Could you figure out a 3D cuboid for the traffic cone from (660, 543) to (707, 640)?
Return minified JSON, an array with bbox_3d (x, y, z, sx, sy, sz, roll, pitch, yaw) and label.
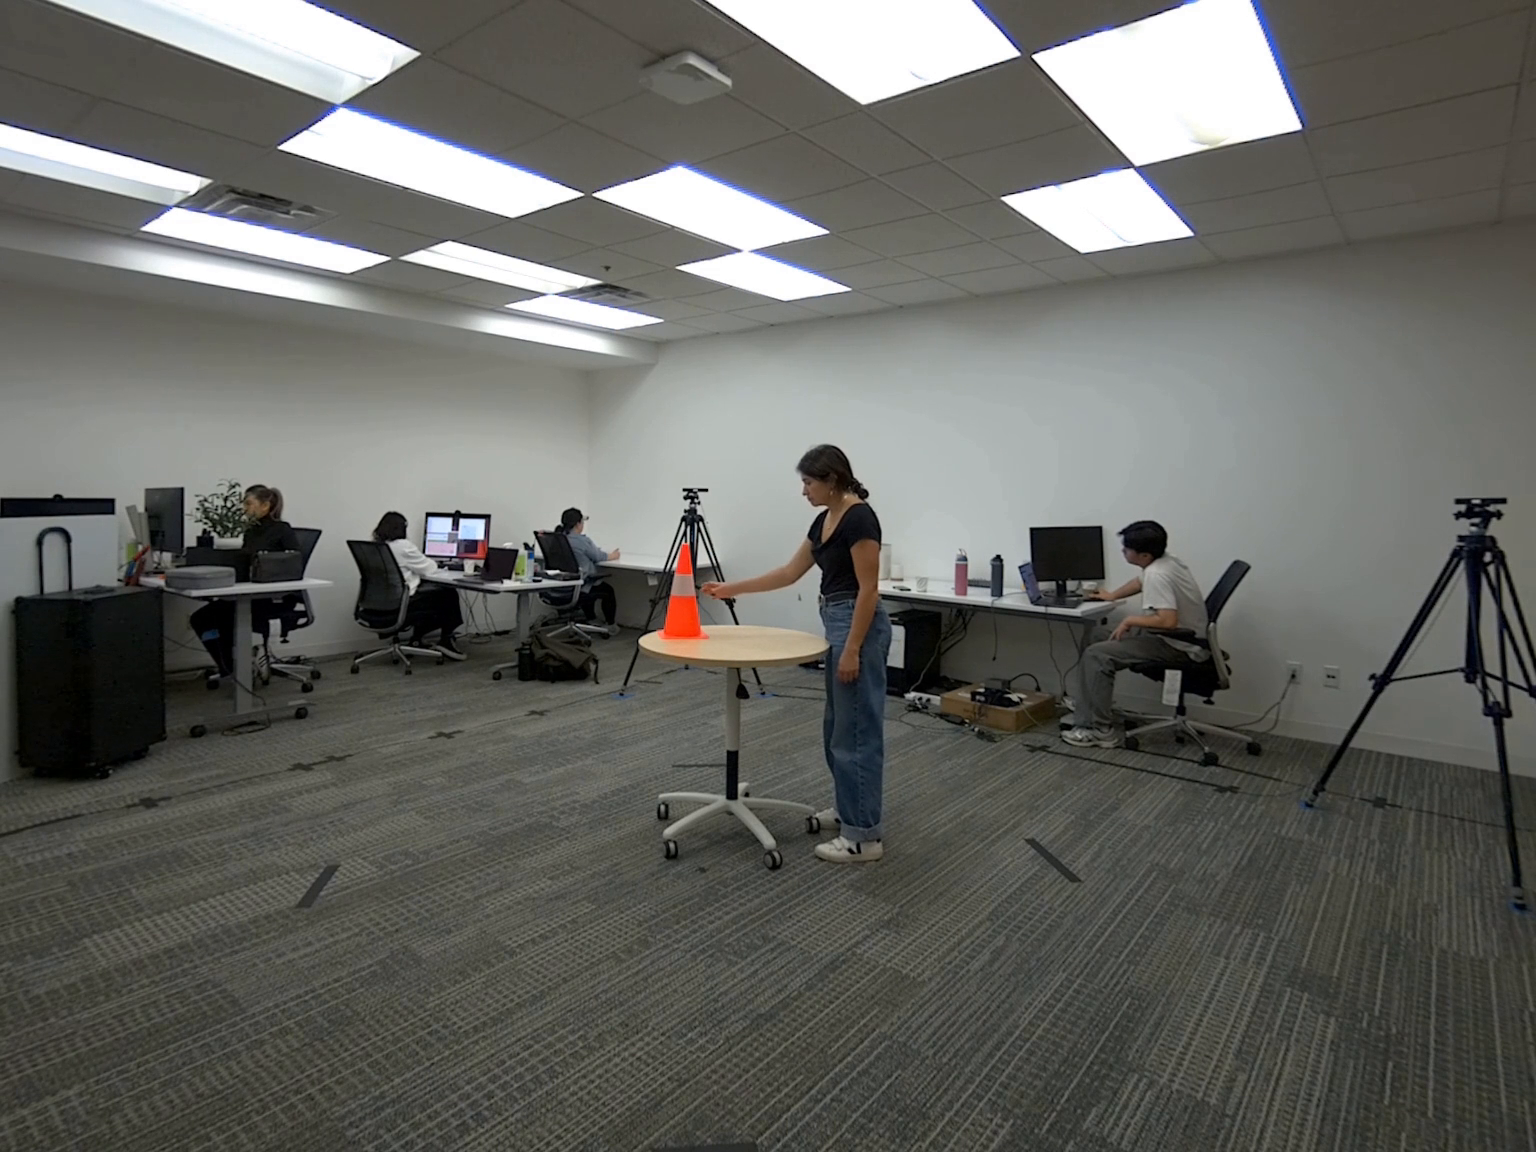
[{"bbox_3d":[-0.345,0.050,3.550,0.201,0.383,0.207,3,3,-16],"label":"traffic cone"}]
